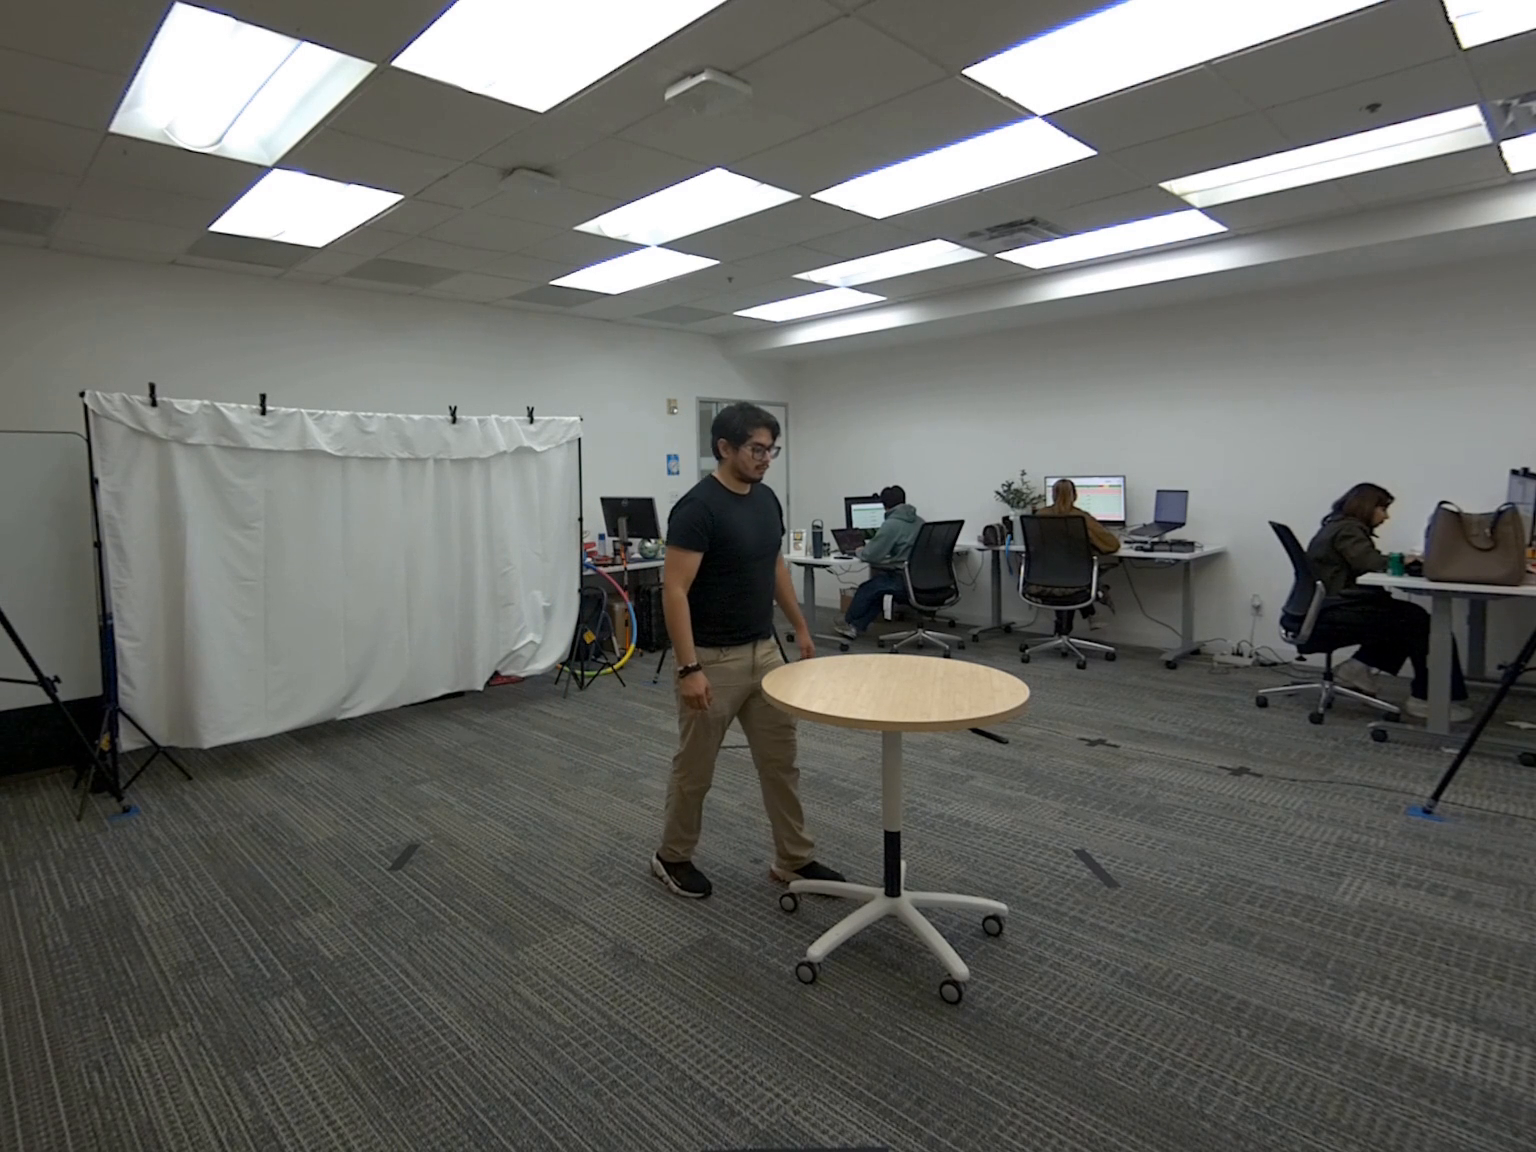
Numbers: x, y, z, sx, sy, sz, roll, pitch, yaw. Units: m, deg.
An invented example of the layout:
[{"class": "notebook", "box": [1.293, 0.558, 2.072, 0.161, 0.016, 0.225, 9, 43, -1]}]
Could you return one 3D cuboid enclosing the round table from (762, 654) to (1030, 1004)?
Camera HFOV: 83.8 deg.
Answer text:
[{"class": "round table", "box": [0.377, 0.697, 2.556, 0.784, 0.783, 0.790, -1, 6, -2]}]
